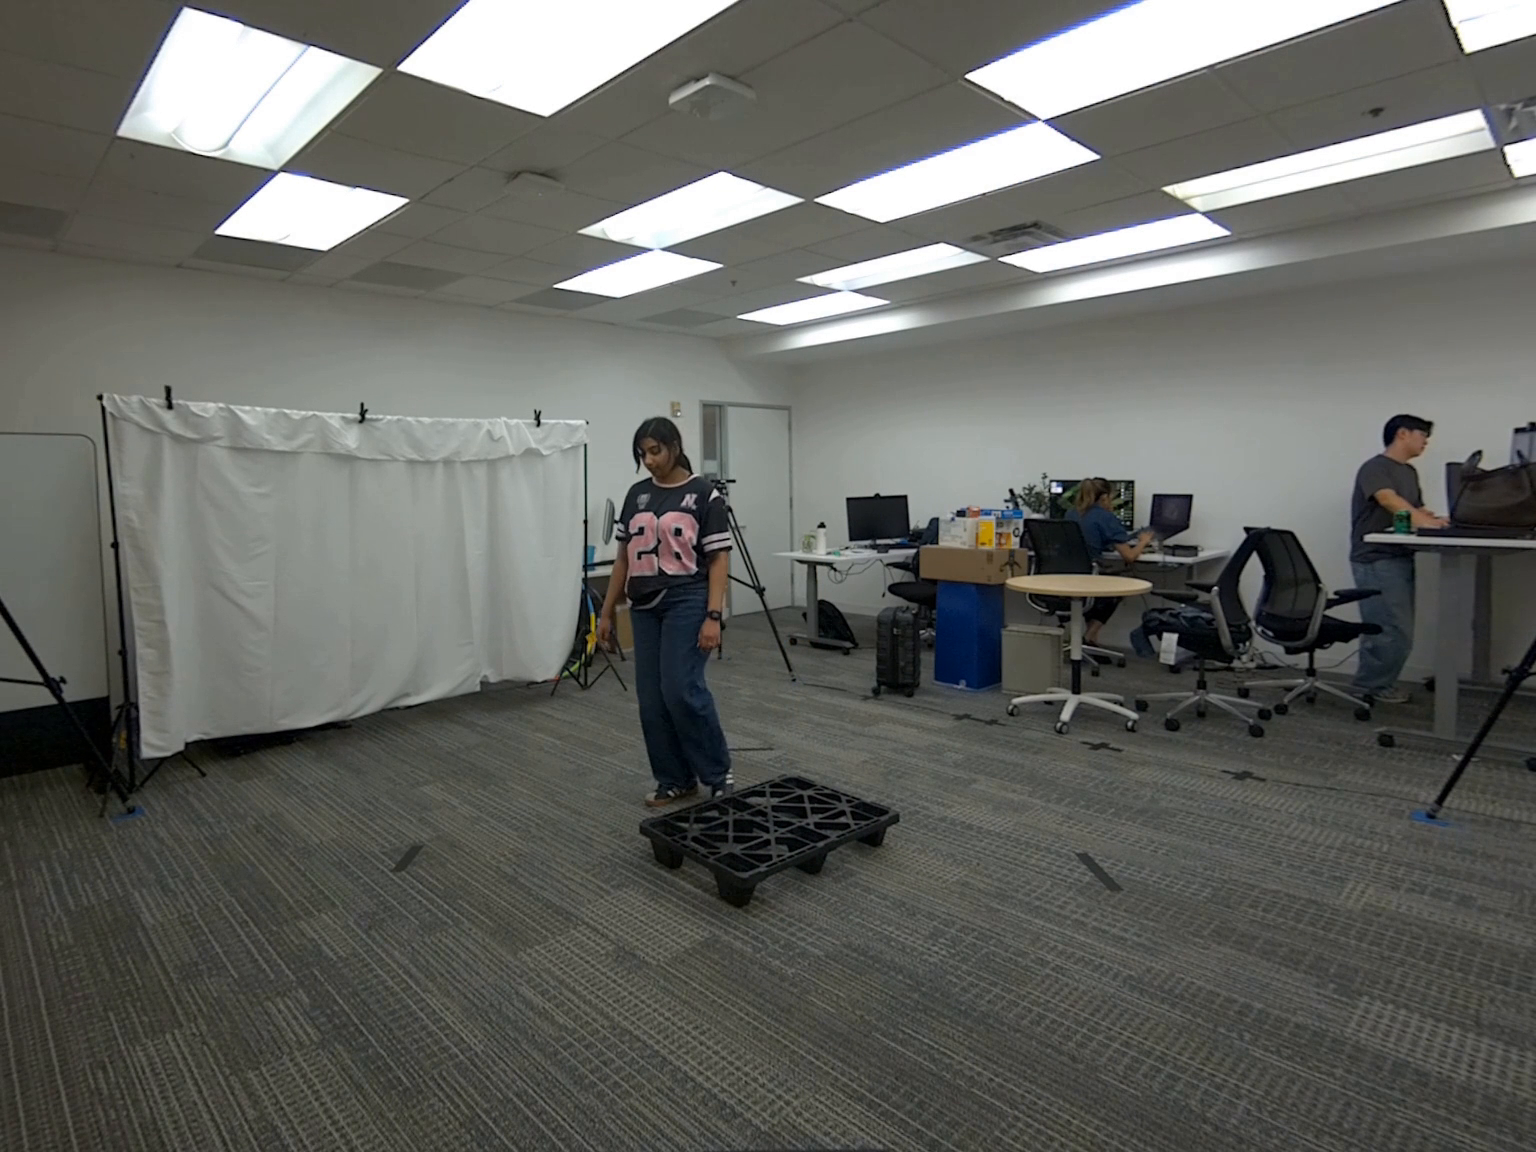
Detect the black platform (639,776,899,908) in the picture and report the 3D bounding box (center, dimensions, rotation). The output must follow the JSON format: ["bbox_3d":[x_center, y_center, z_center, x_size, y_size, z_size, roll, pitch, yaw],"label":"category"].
[{"bbox_3d":[0.021,0.971,3.194,0.785,0.142,0.624,-7,9,-41],"label":"black platform"}]
